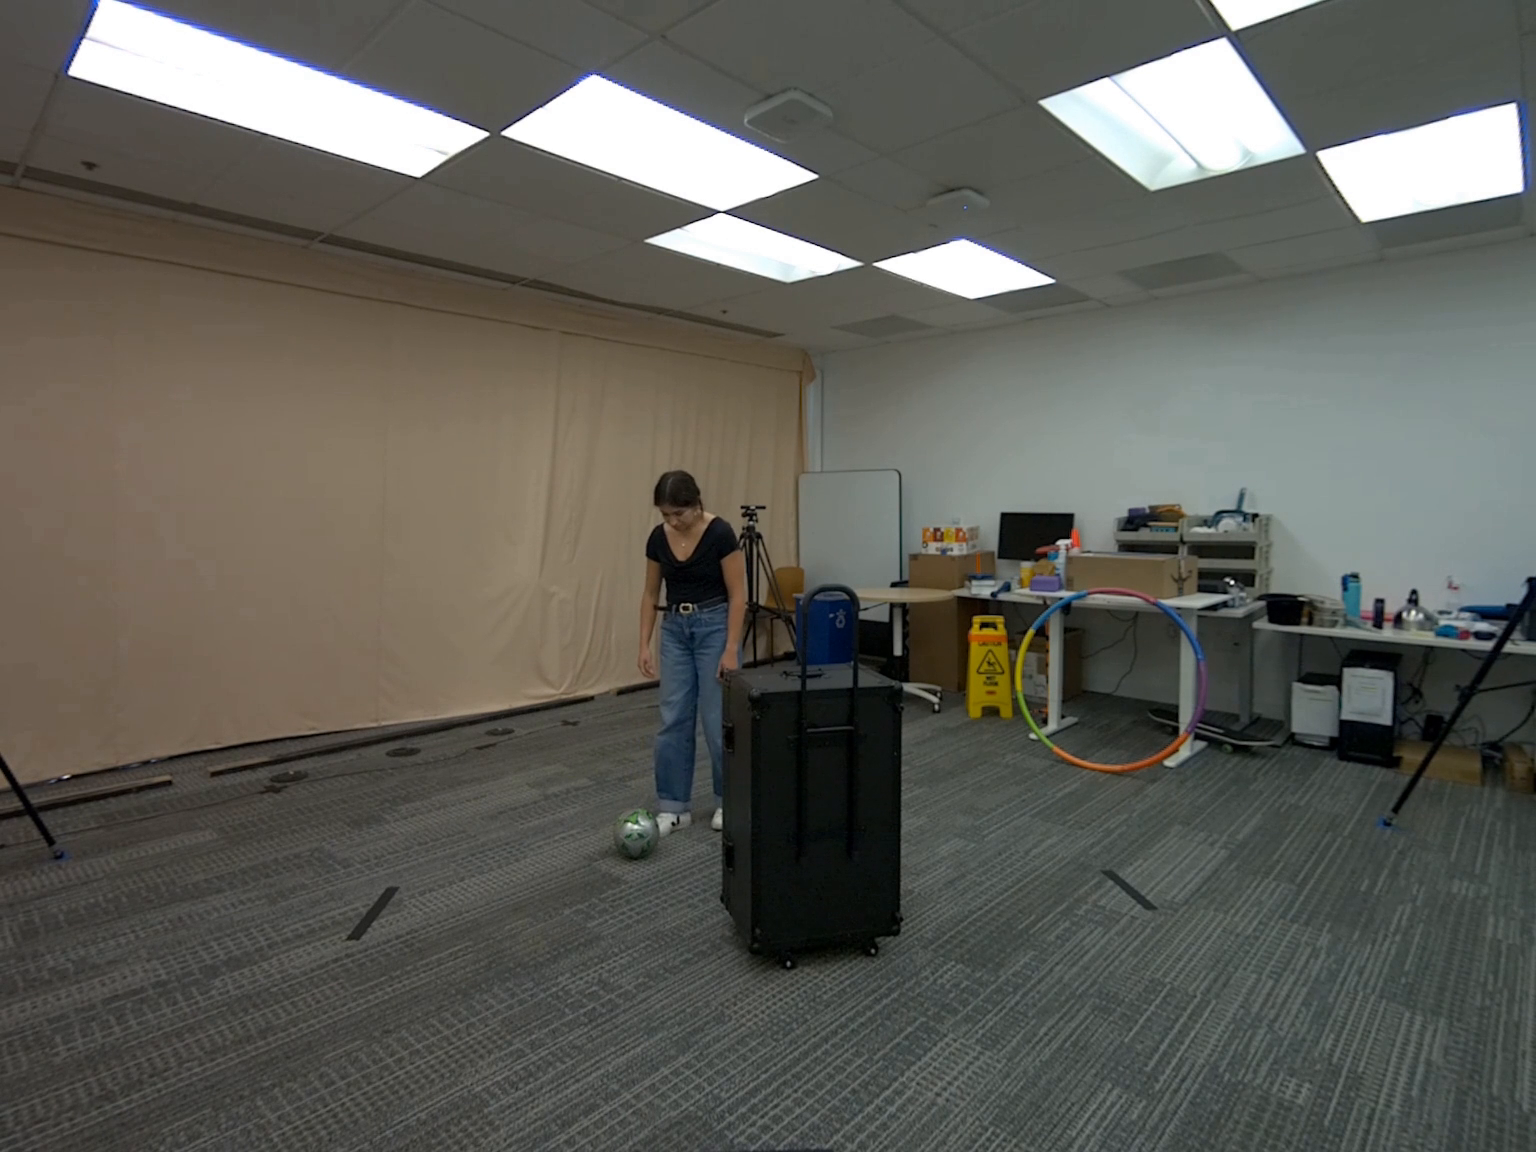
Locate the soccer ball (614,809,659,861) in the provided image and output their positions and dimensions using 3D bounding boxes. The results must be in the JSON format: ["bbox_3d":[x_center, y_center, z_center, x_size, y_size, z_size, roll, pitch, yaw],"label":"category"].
[{"bbox_3d":[-0.526,1.023,3.356,0.187,0.187,0.188,0,4,-2],"label":"soccer ball"}]
